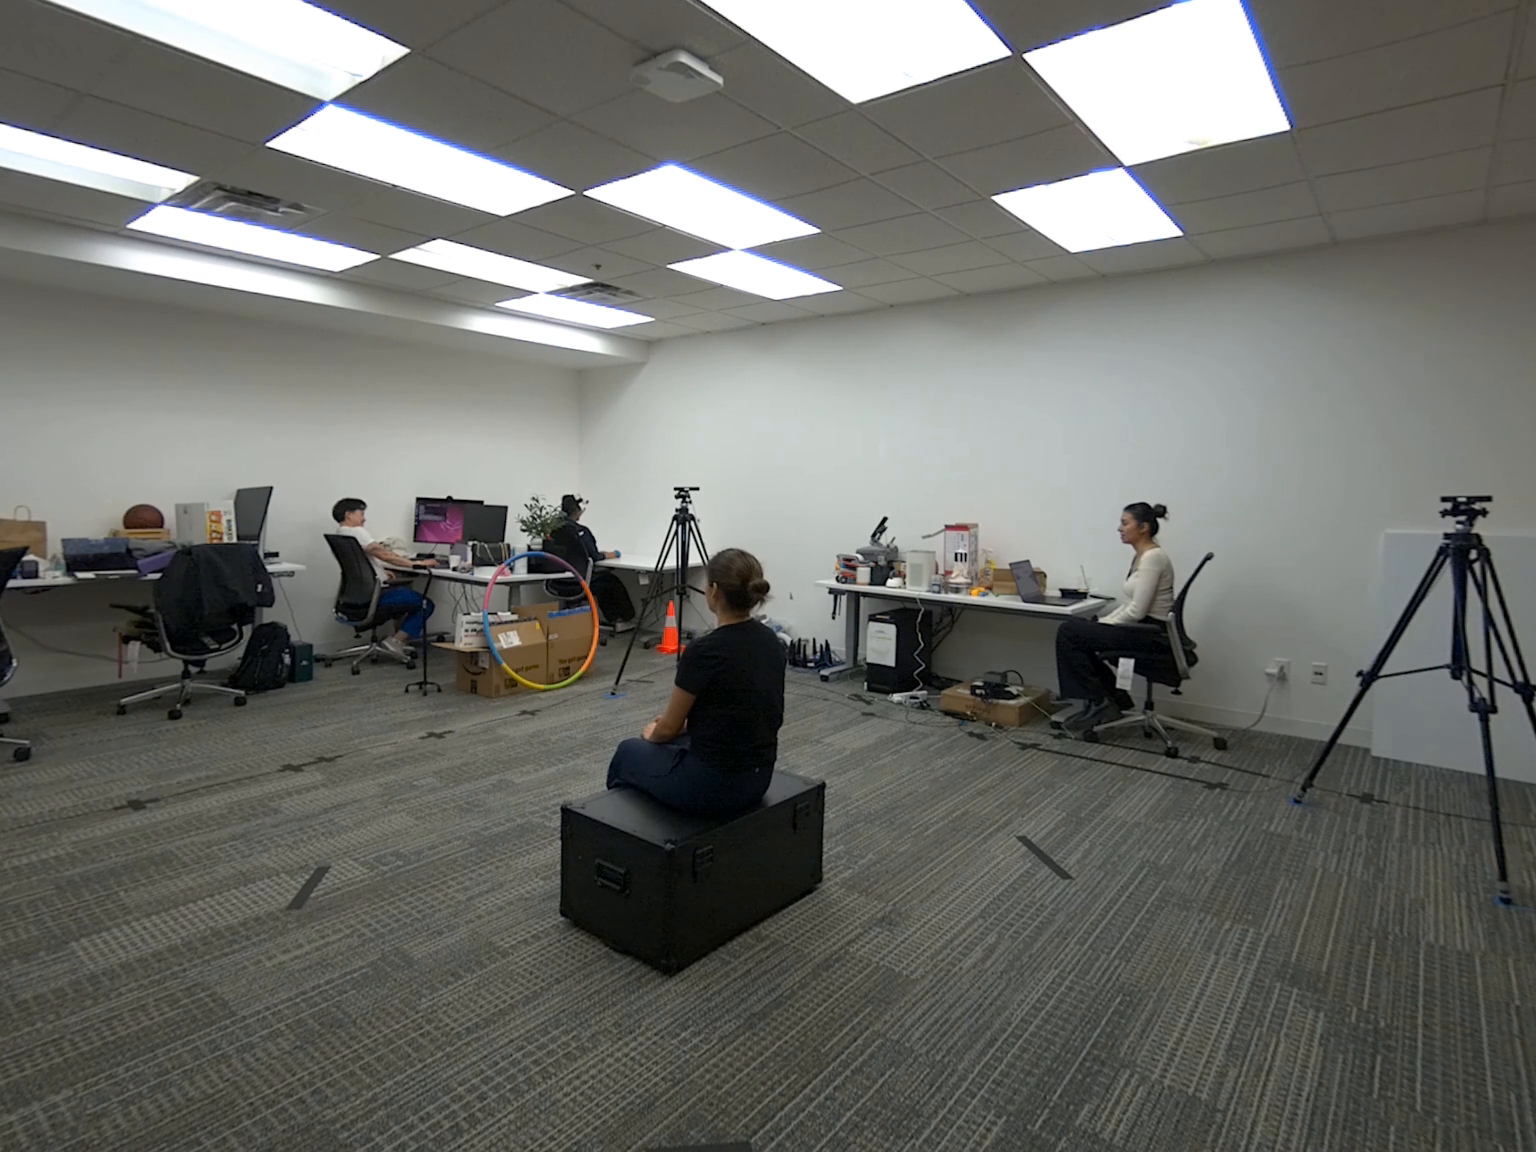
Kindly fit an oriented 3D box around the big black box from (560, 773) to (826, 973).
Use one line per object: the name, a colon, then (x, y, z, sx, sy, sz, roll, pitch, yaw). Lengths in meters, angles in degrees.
big black box: (-0.198, 0.903, 2.863, 0.539, 0.394, 0.836, 5, 7, 39)
